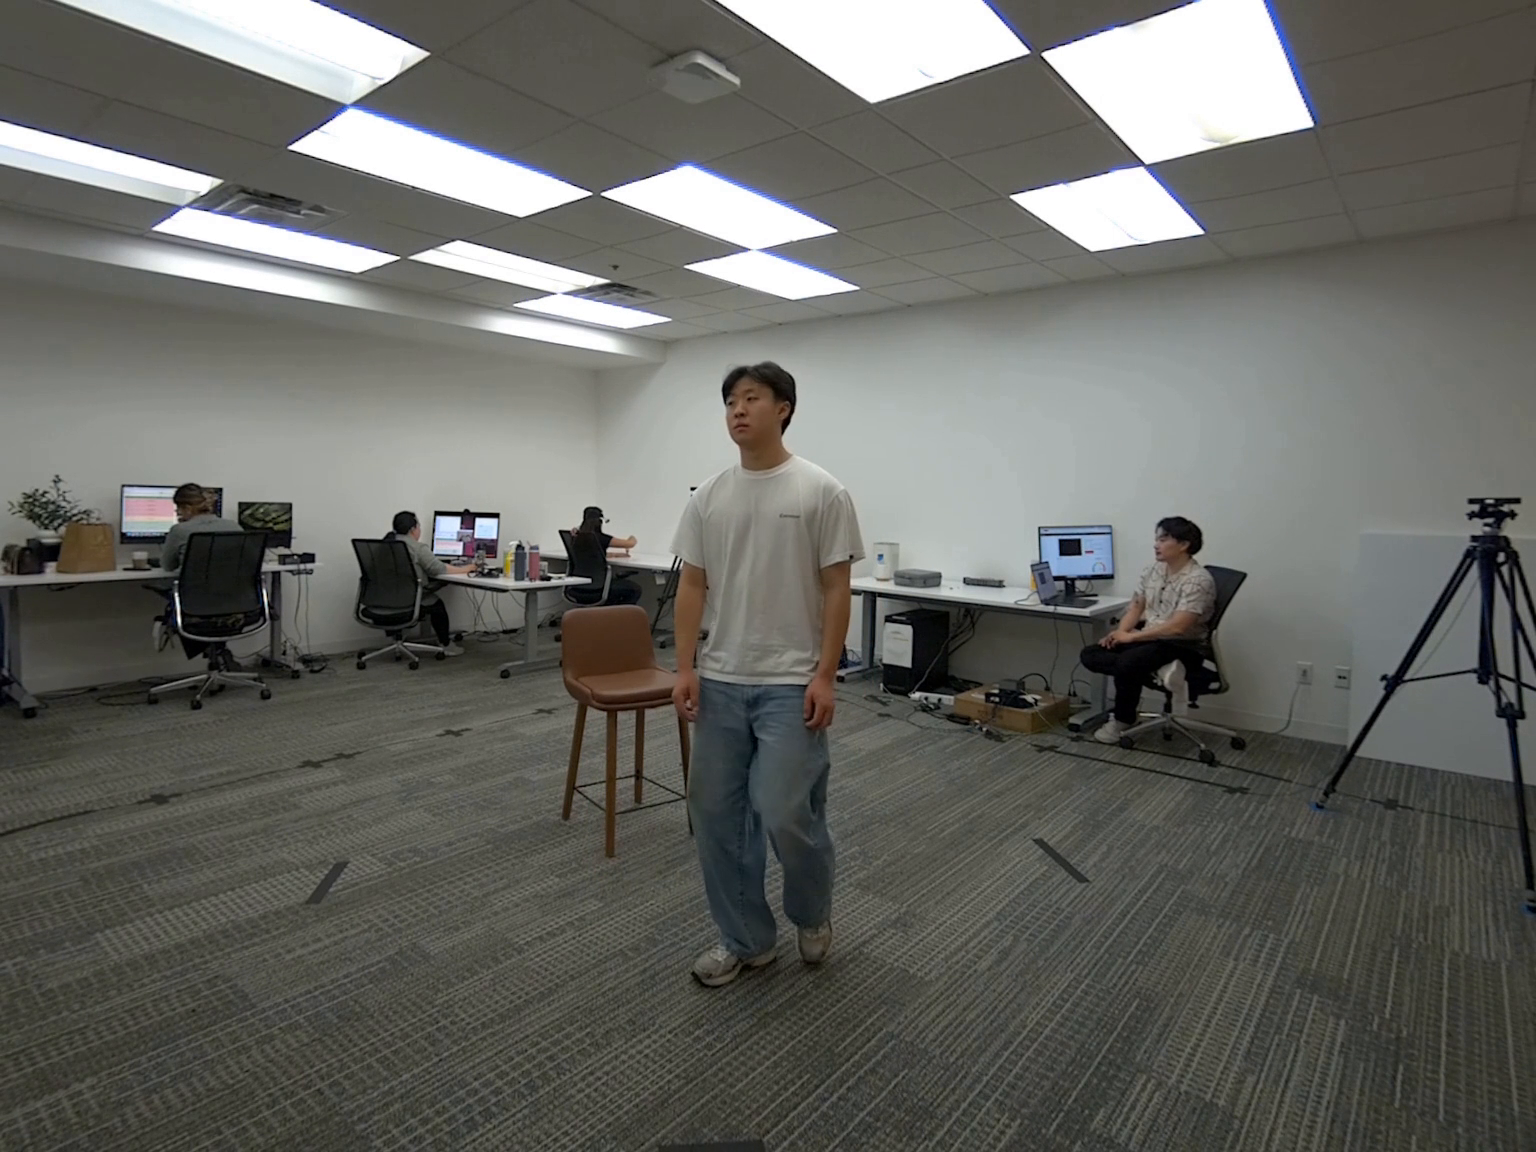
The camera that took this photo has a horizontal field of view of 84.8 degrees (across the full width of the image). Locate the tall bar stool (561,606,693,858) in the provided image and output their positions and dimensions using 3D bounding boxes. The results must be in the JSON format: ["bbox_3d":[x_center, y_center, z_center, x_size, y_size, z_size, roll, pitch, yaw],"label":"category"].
[{"bbox_3d":[-0.588,0.588,3.464,0.443,0.889,0.482,-1,2,-37],"label":"tall bar stool"}]
